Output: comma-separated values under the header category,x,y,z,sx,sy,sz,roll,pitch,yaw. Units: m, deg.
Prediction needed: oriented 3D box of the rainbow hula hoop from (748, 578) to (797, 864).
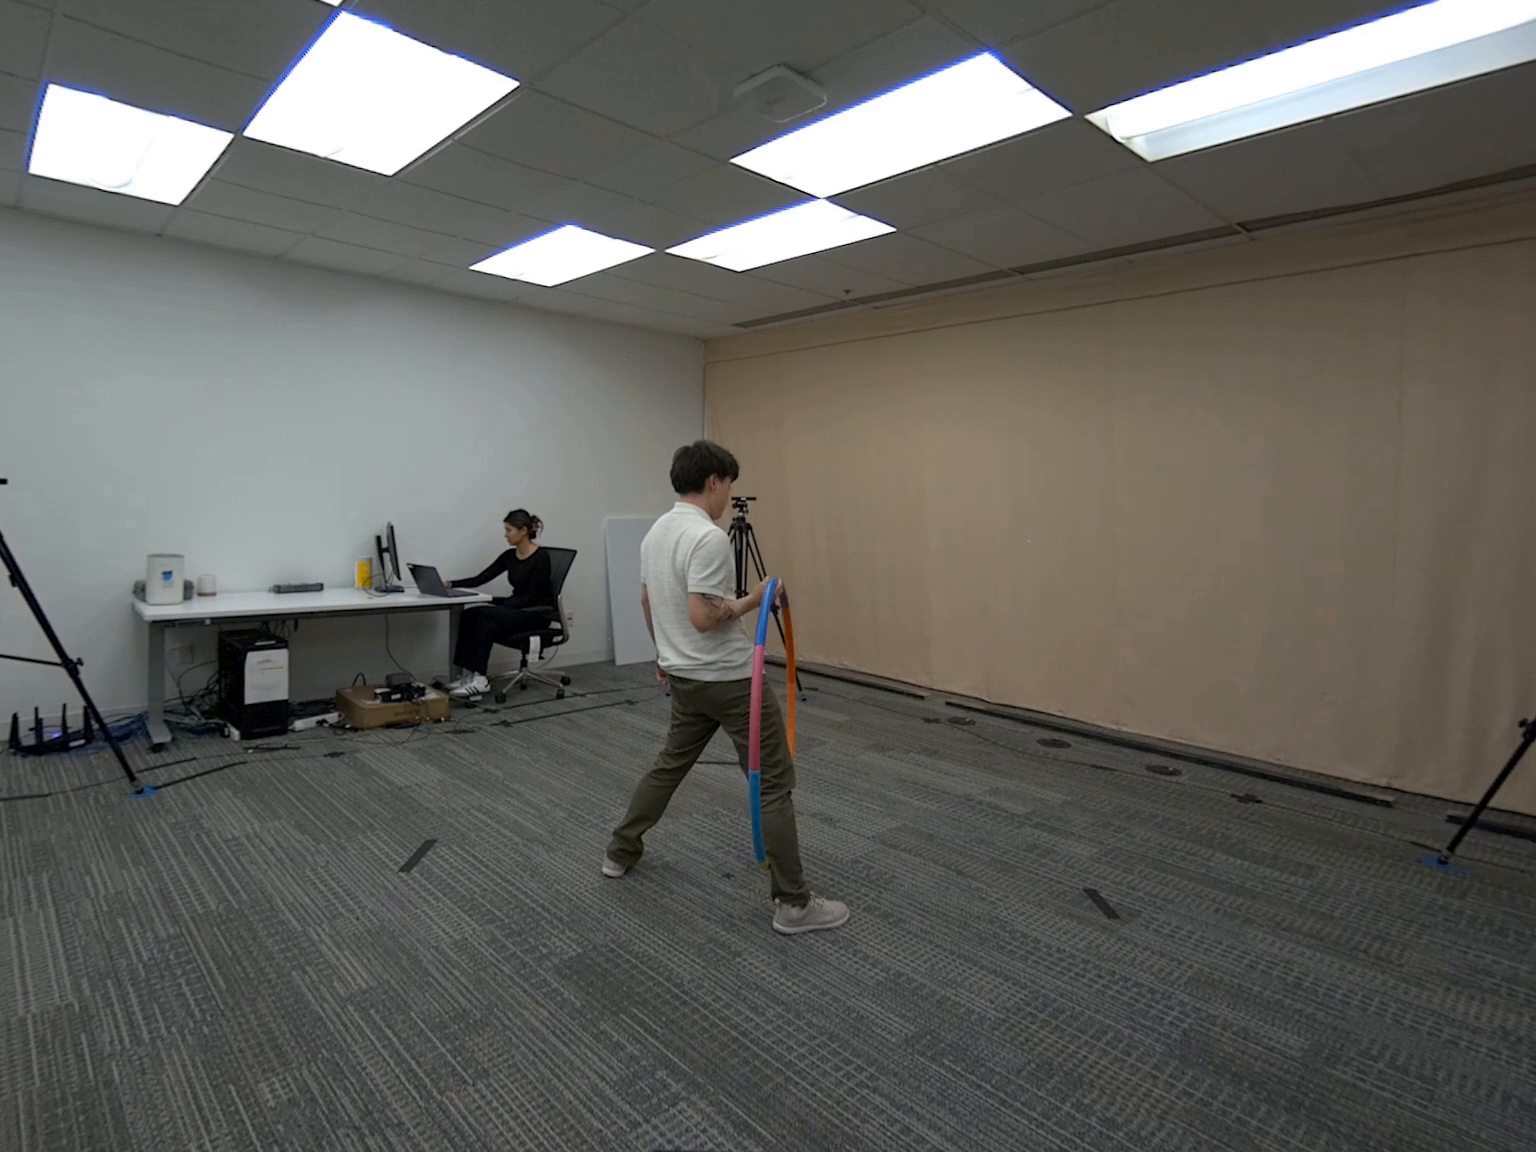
category,x,y,z,sx,sy,sz,roll,pitch,yaw
rainbow hula hoop,0.003,0.507,2.950,0.036,0.976,0.974,0,4,8
